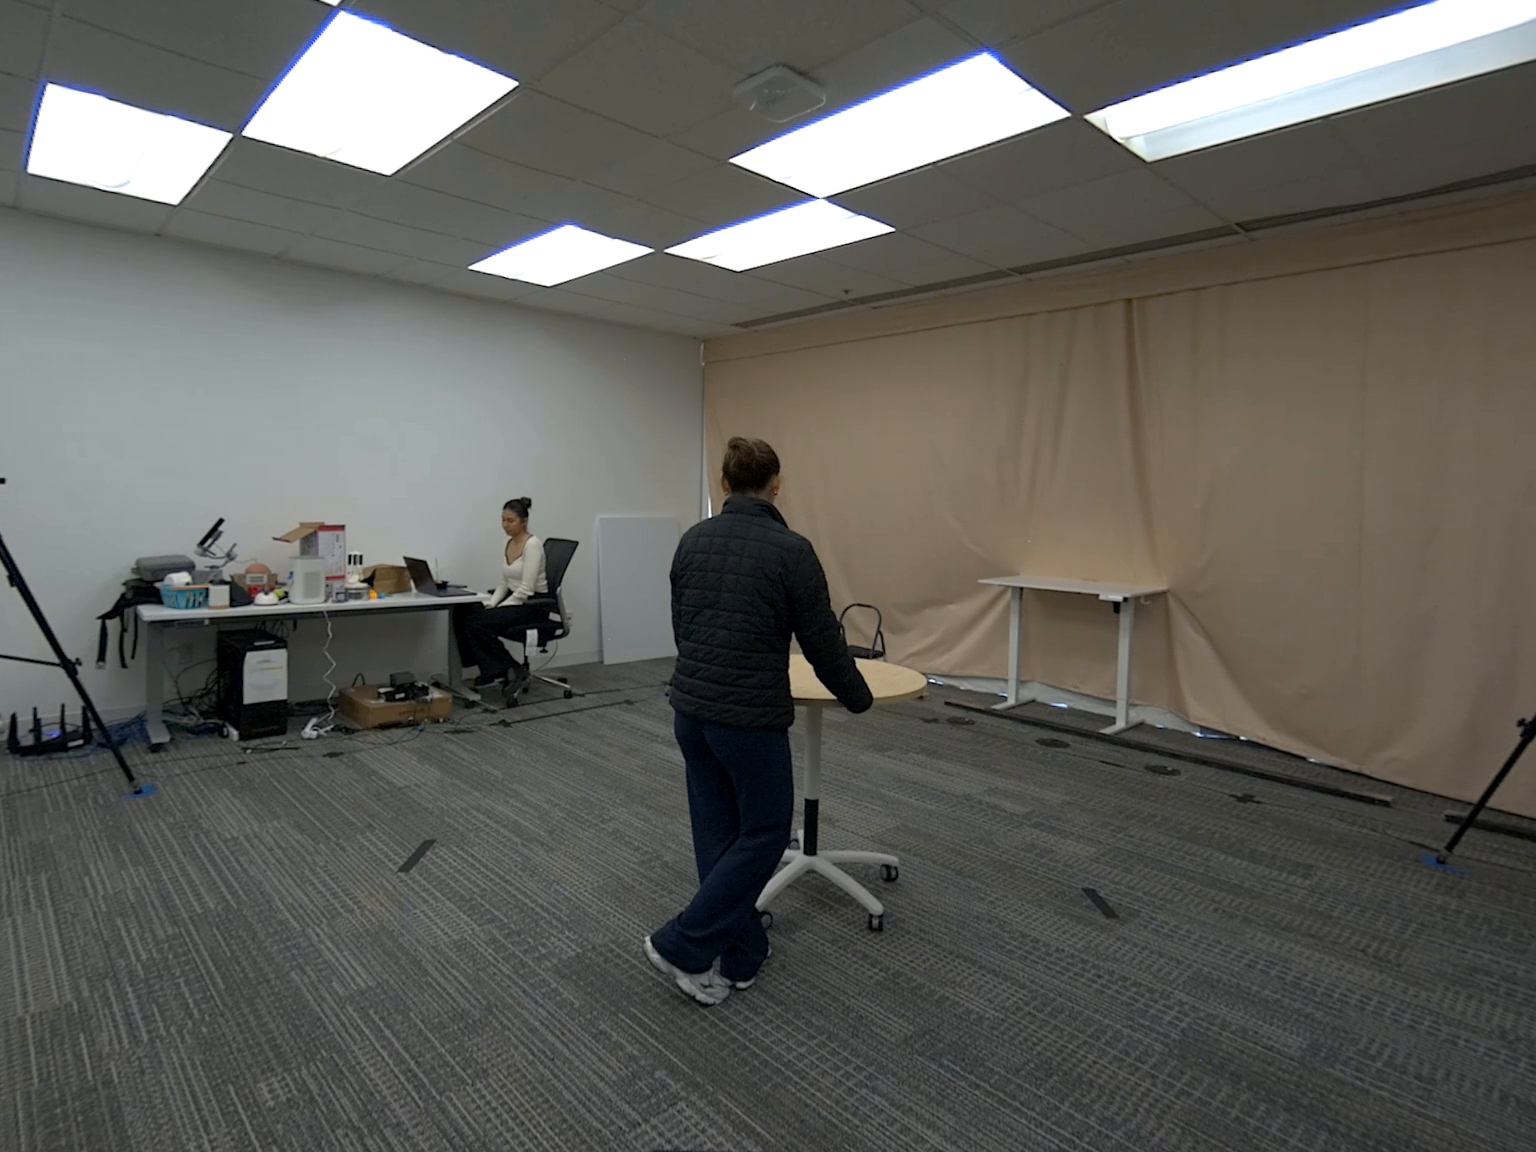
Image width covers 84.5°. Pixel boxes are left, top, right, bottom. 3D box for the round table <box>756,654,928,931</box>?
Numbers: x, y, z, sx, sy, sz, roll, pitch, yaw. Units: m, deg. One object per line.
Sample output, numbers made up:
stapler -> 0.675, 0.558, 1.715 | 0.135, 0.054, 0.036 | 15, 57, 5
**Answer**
round table -> 0.139, 0.733, 2.953 | 0.784, 0.785, 0.787 | 2, 3, -1
